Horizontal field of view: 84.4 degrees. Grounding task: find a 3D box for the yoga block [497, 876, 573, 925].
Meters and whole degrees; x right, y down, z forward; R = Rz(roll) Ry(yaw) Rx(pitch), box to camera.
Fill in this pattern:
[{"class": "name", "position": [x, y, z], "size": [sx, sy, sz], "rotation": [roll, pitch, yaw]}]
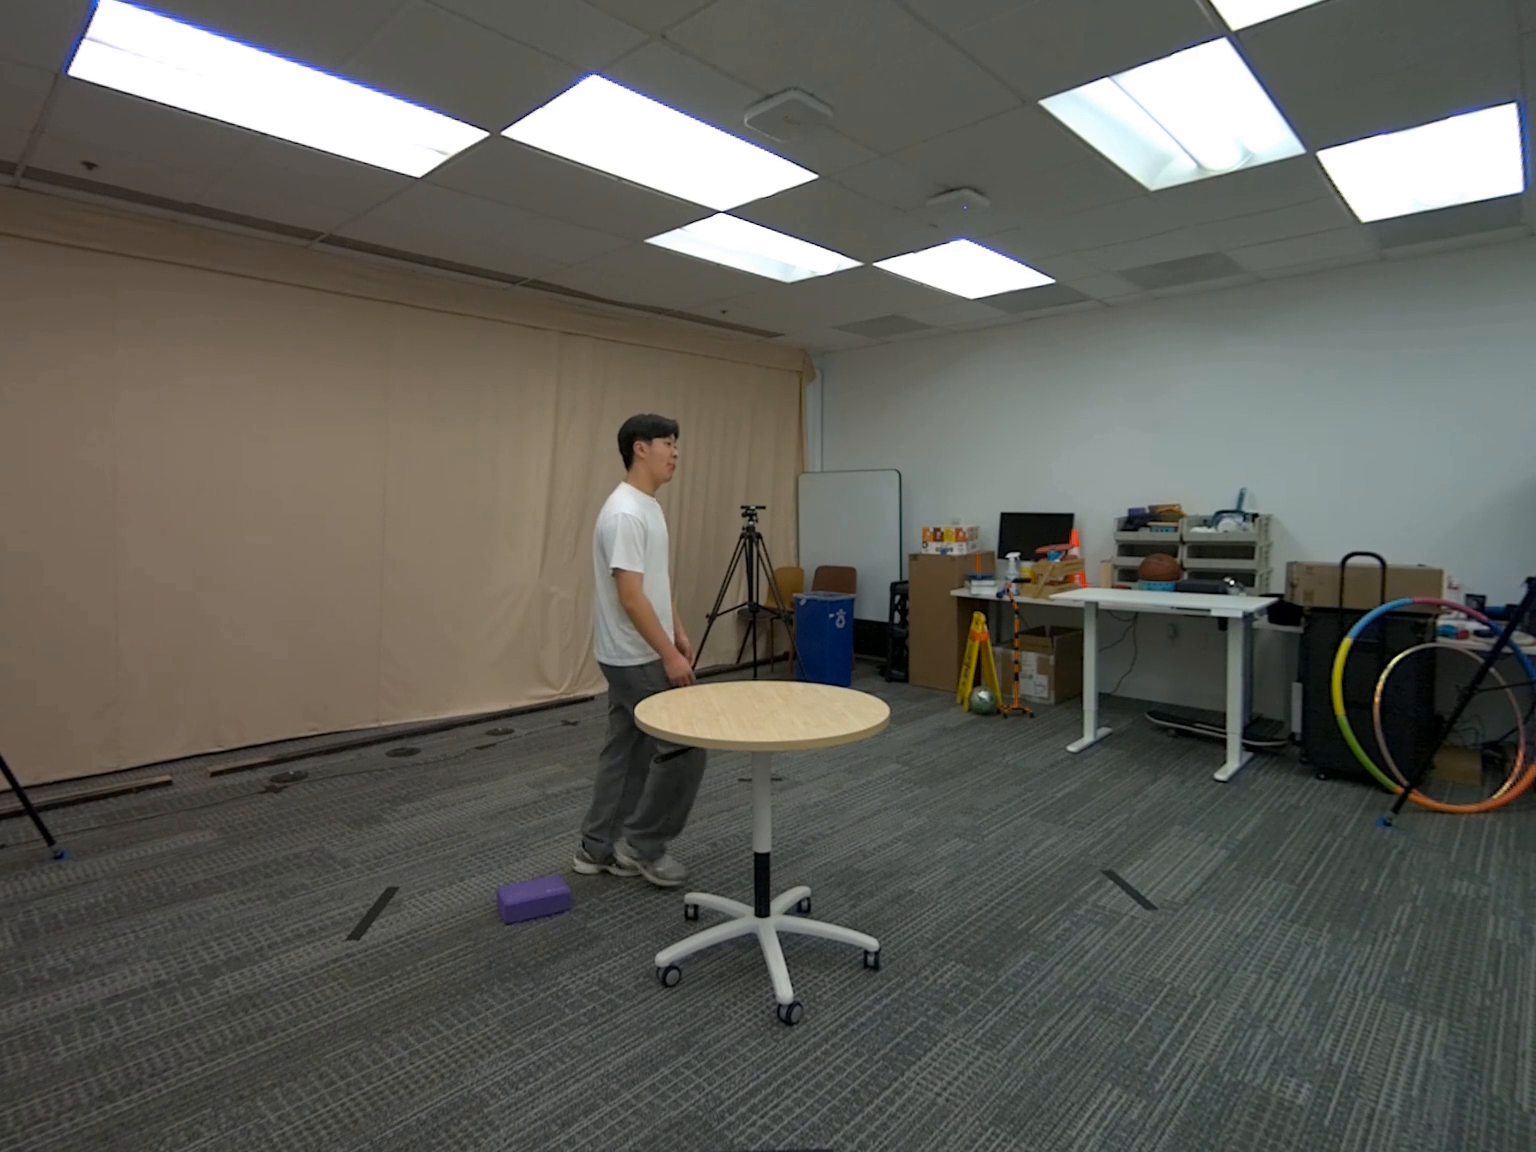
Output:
[{"class": "yoga block", "position": [-0.810, 1.119, 2.911], "size": [0.223, 0.076, 0.153], "rotation": [-4, 5, -29]}]
